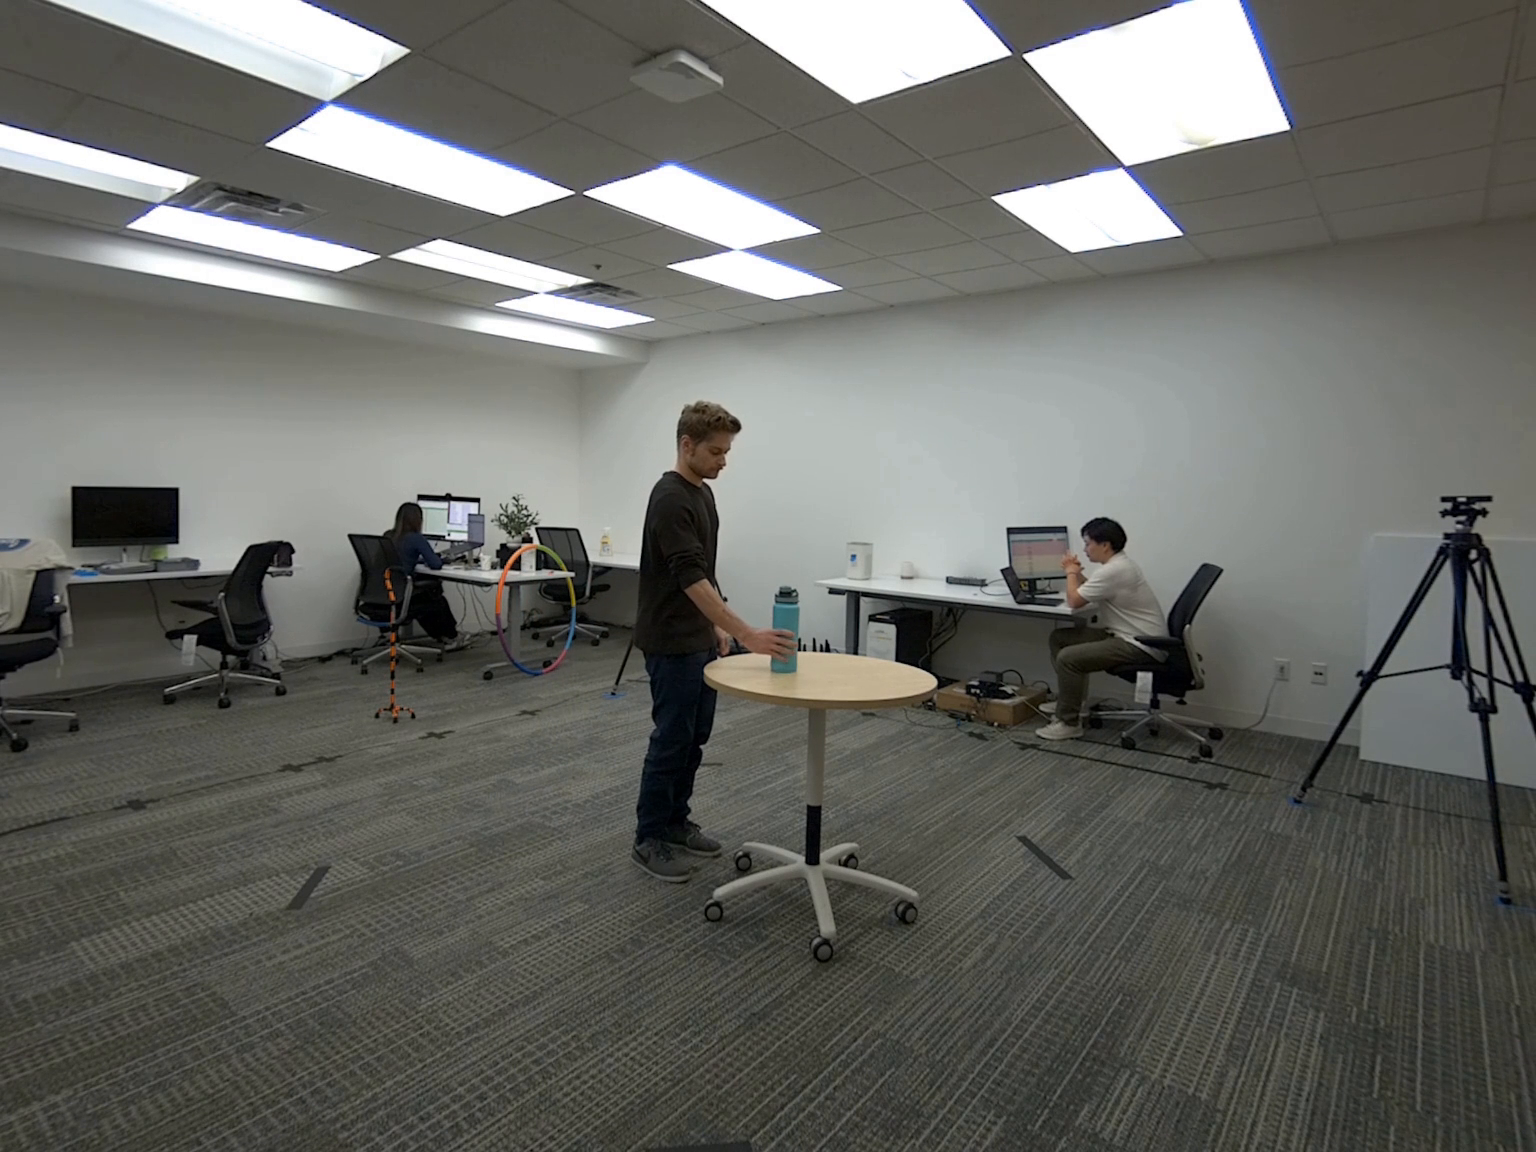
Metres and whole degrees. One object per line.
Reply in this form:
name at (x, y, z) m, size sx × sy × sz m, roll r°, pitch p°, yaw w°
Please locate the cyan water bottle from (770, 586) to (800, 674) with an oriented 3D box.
cyan water bottle at (0.055, 0.175, 2.847) m, size 0.092 × 0.282 × 0.093 m, roll 3°, pitch 4°, yaw -2°
